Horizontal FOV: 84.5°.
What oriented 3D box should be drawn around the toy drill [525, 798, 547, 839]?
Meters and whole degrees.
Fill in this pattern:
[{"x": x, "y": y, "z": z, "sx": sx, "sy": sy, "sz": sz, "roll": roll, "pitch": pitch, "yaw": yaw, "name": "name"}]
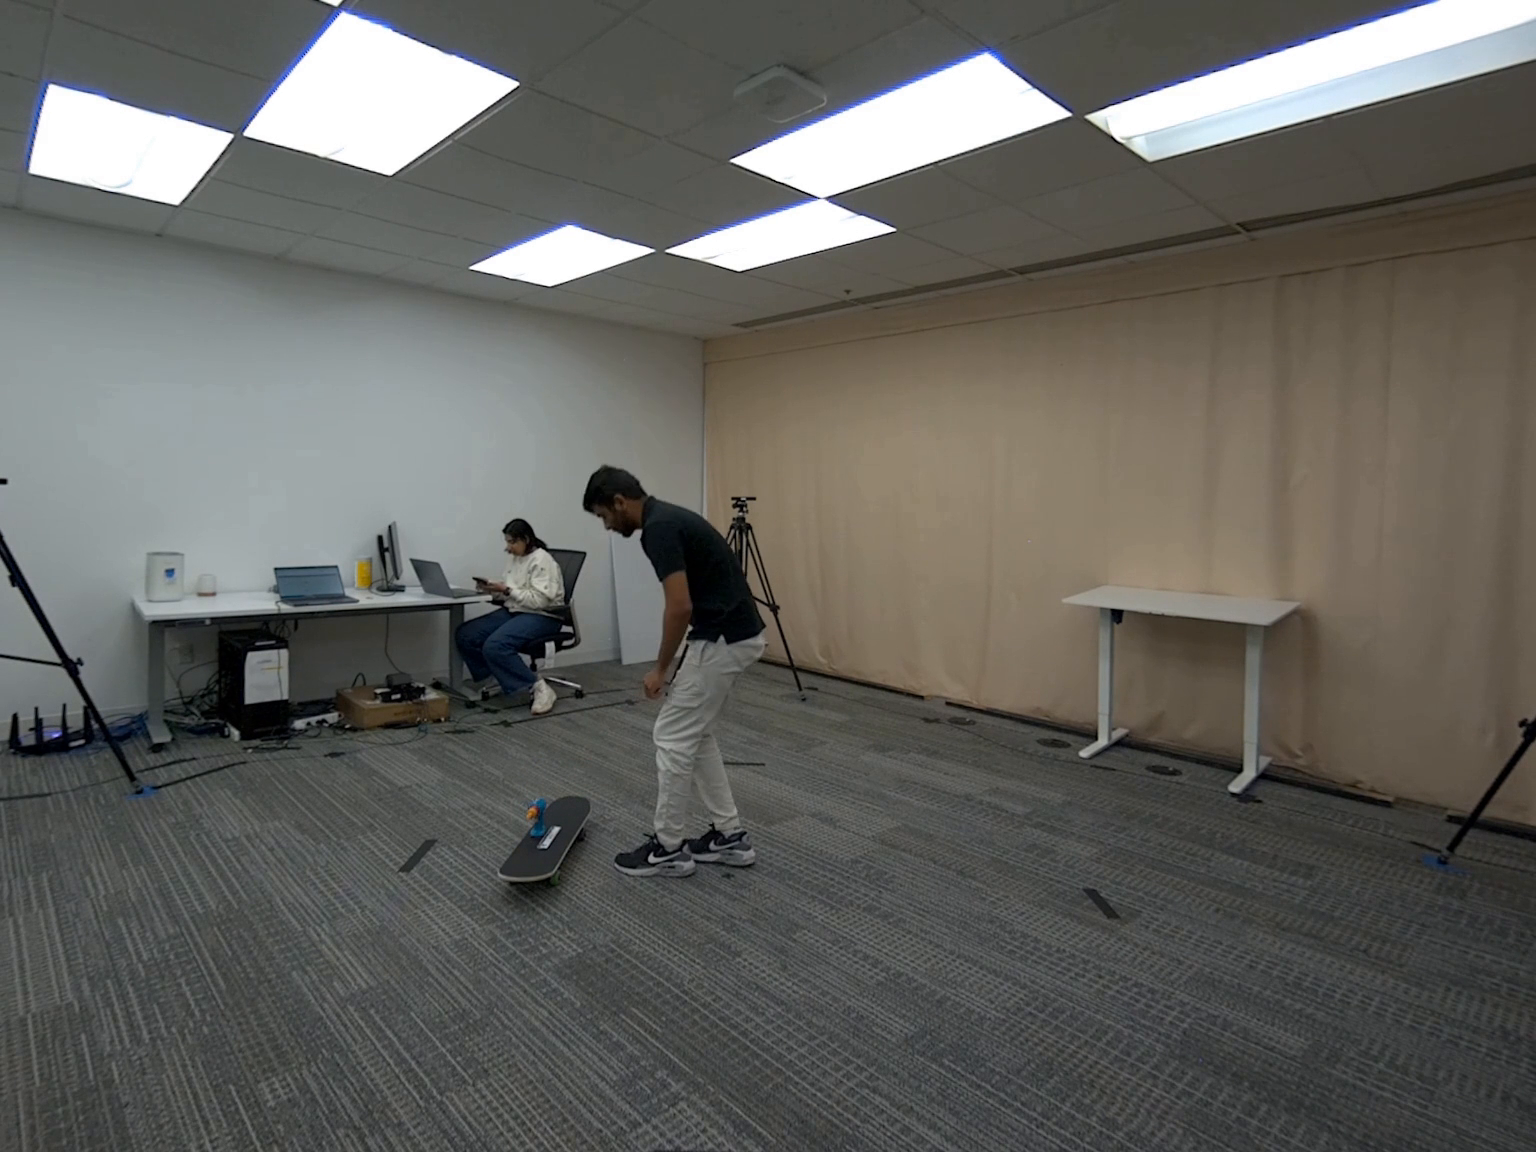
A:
[{"x": -0.877, "y": 0.917, "z": 3.179, "sx": 0.061, "sy": 0.145, "sz": 0.170, "roll": 4, "pitch": 5, "yaw": 1, "name": "toy drill"}]
